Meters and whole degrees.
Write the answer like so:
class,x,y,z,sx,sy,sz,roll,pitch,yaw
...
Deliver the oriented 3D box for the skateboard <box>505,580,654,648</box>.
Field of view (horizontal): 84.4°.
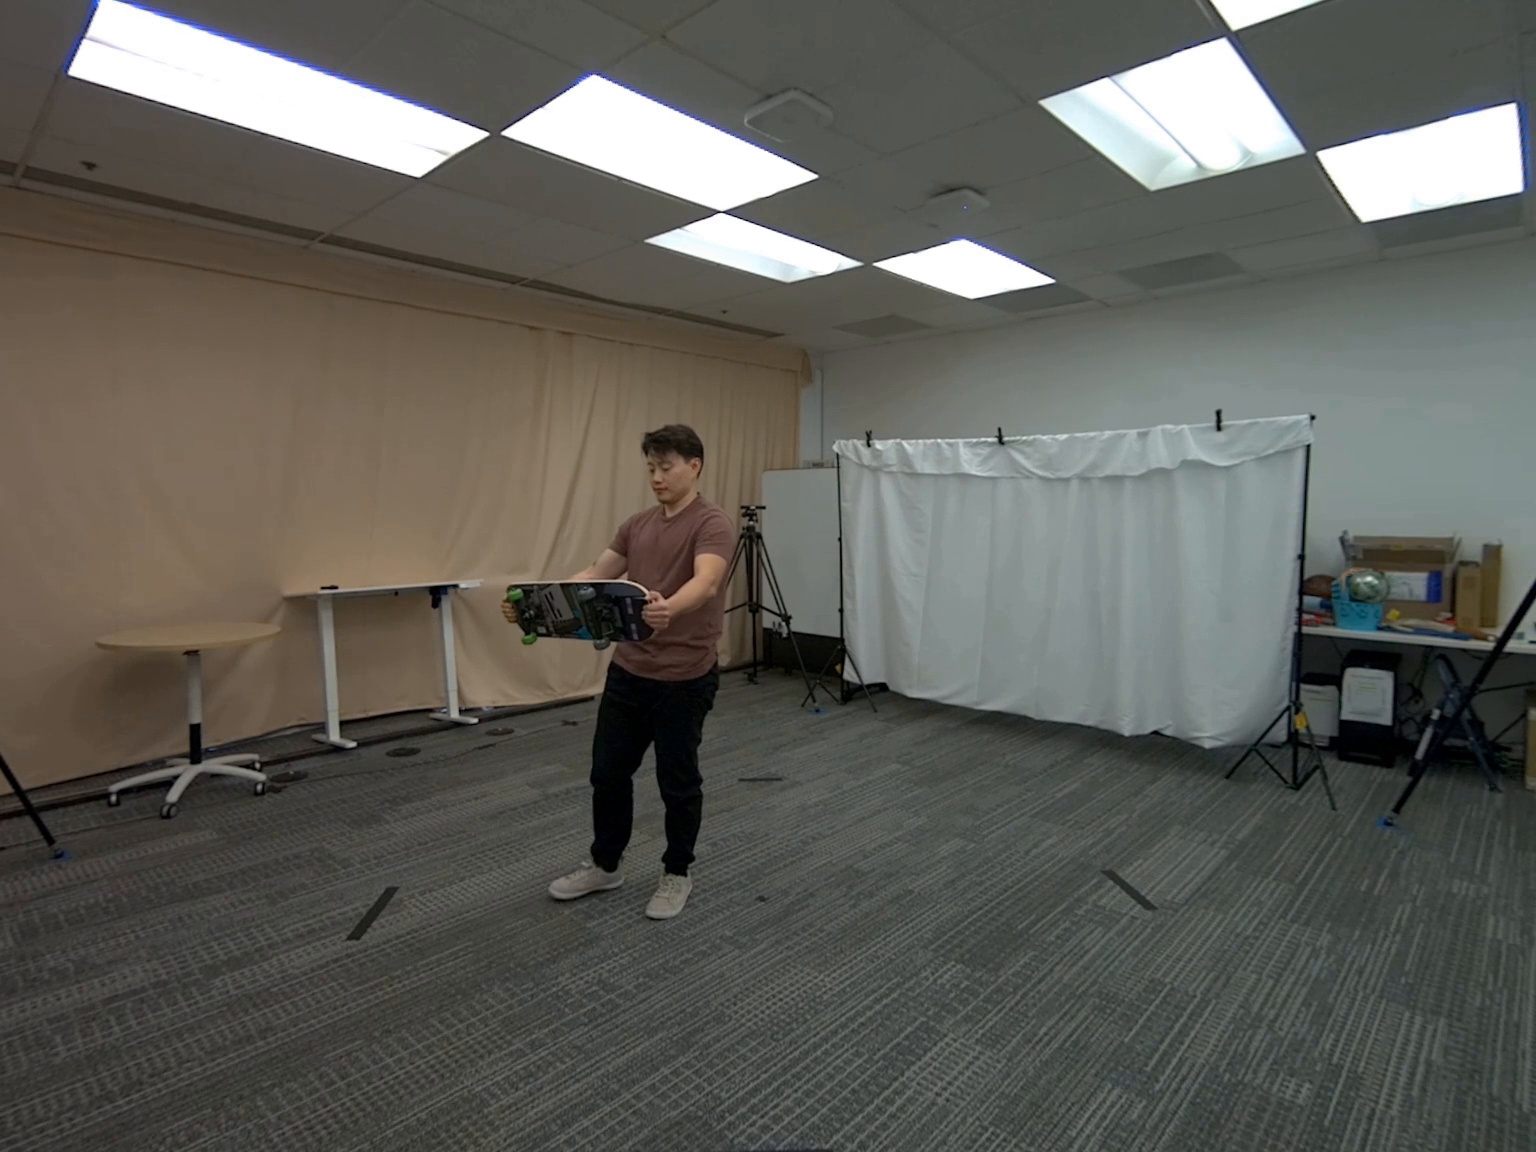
class,x,y,z,sx,sy,sz,roll,pitch,yaw
skateboard,-0.631,0.118,2.619,0.810,0.191,0.108,-2,22,44
